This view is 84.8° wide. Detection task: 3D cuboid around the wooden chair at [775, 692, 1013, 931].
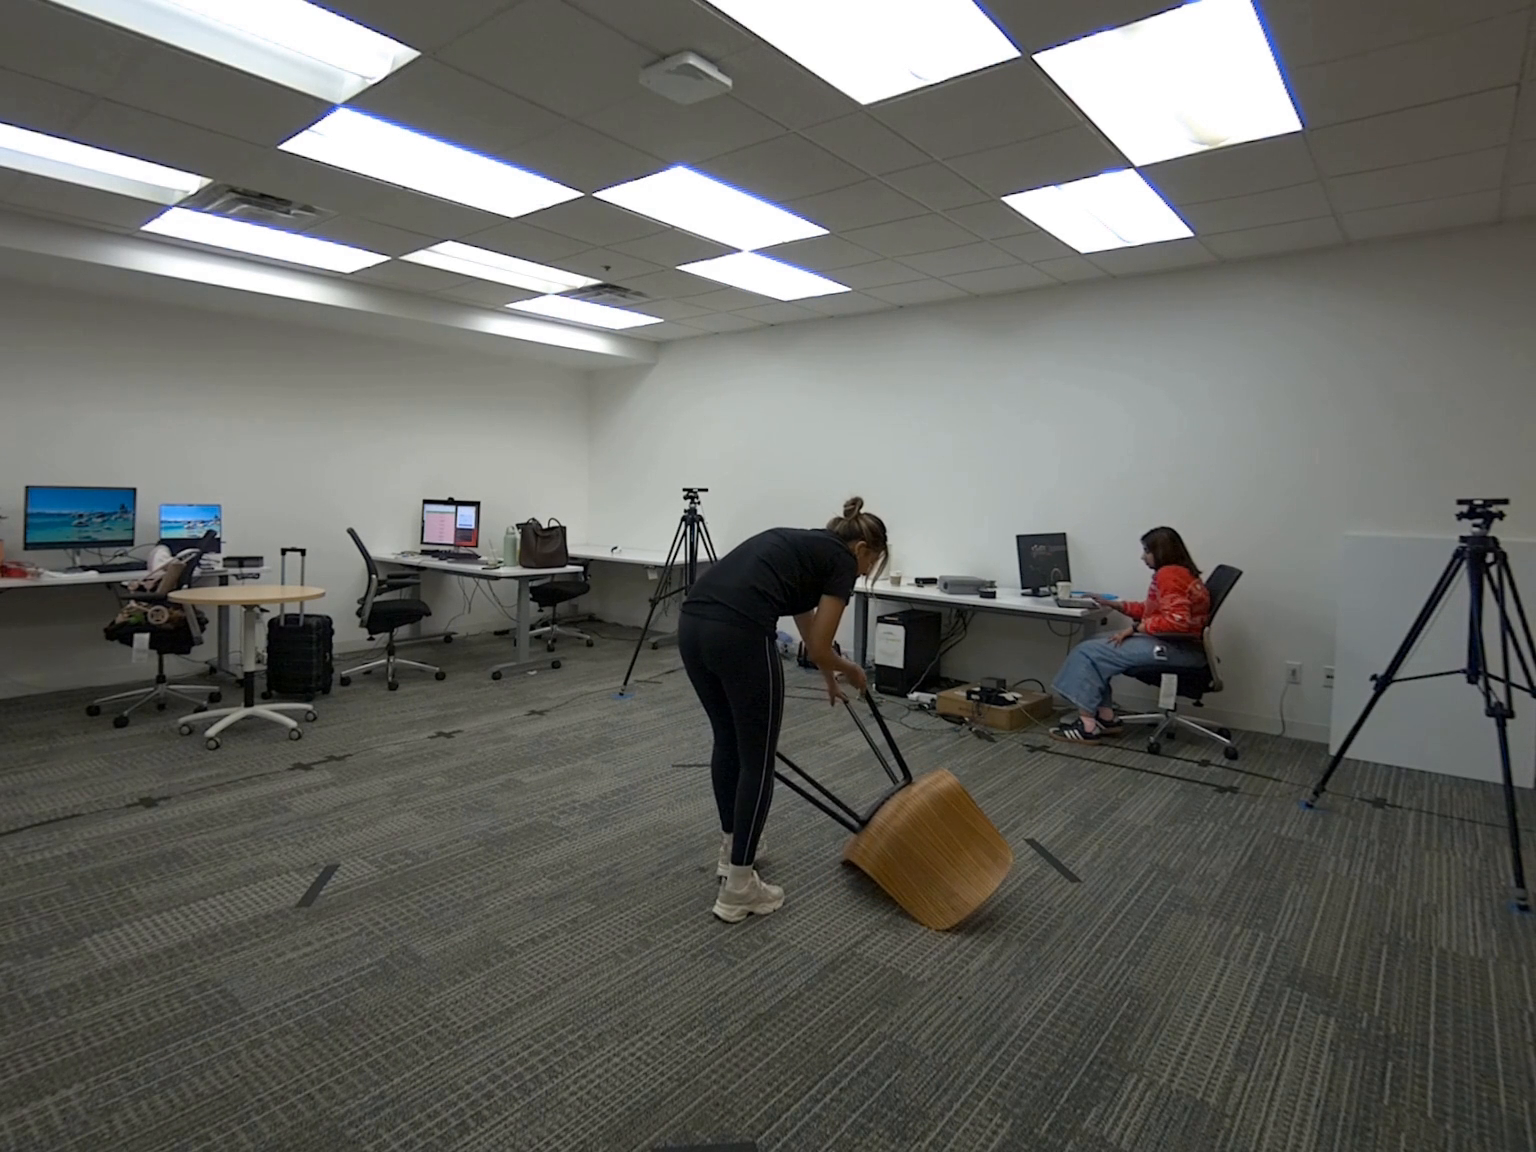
[{"bbox_3d":[0.412,0.838,3.104,0.476,0.905,0.509,-37,-24,-15],"label":"wooden chair"}]
